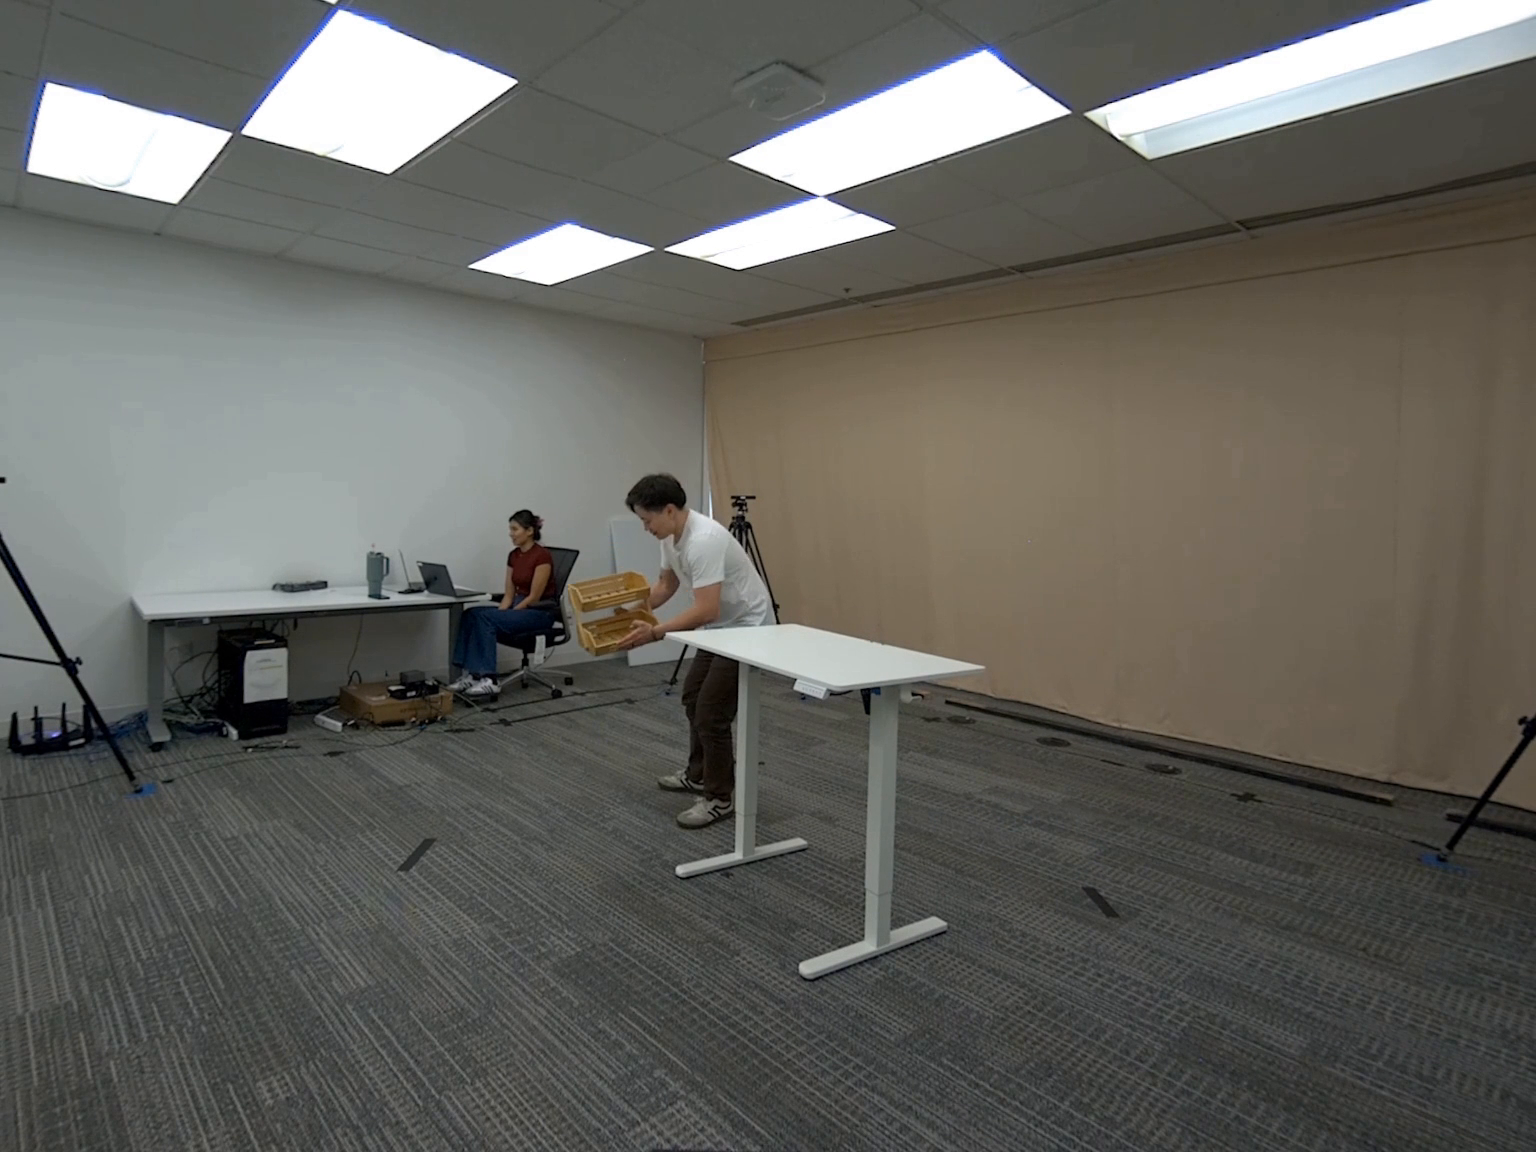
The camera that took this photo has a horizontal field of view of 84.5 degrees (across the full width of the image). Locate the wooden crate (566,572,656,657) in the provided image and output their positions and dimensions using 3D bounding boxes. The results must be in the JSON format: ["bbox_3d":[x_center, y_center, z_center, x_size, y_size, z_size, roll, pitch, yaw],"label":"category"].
[{"bbox_3d":[-0.645,0.152,3.540,0.319,0.271,0.309,-12,13,-27],"label":"wooden crate"}]
